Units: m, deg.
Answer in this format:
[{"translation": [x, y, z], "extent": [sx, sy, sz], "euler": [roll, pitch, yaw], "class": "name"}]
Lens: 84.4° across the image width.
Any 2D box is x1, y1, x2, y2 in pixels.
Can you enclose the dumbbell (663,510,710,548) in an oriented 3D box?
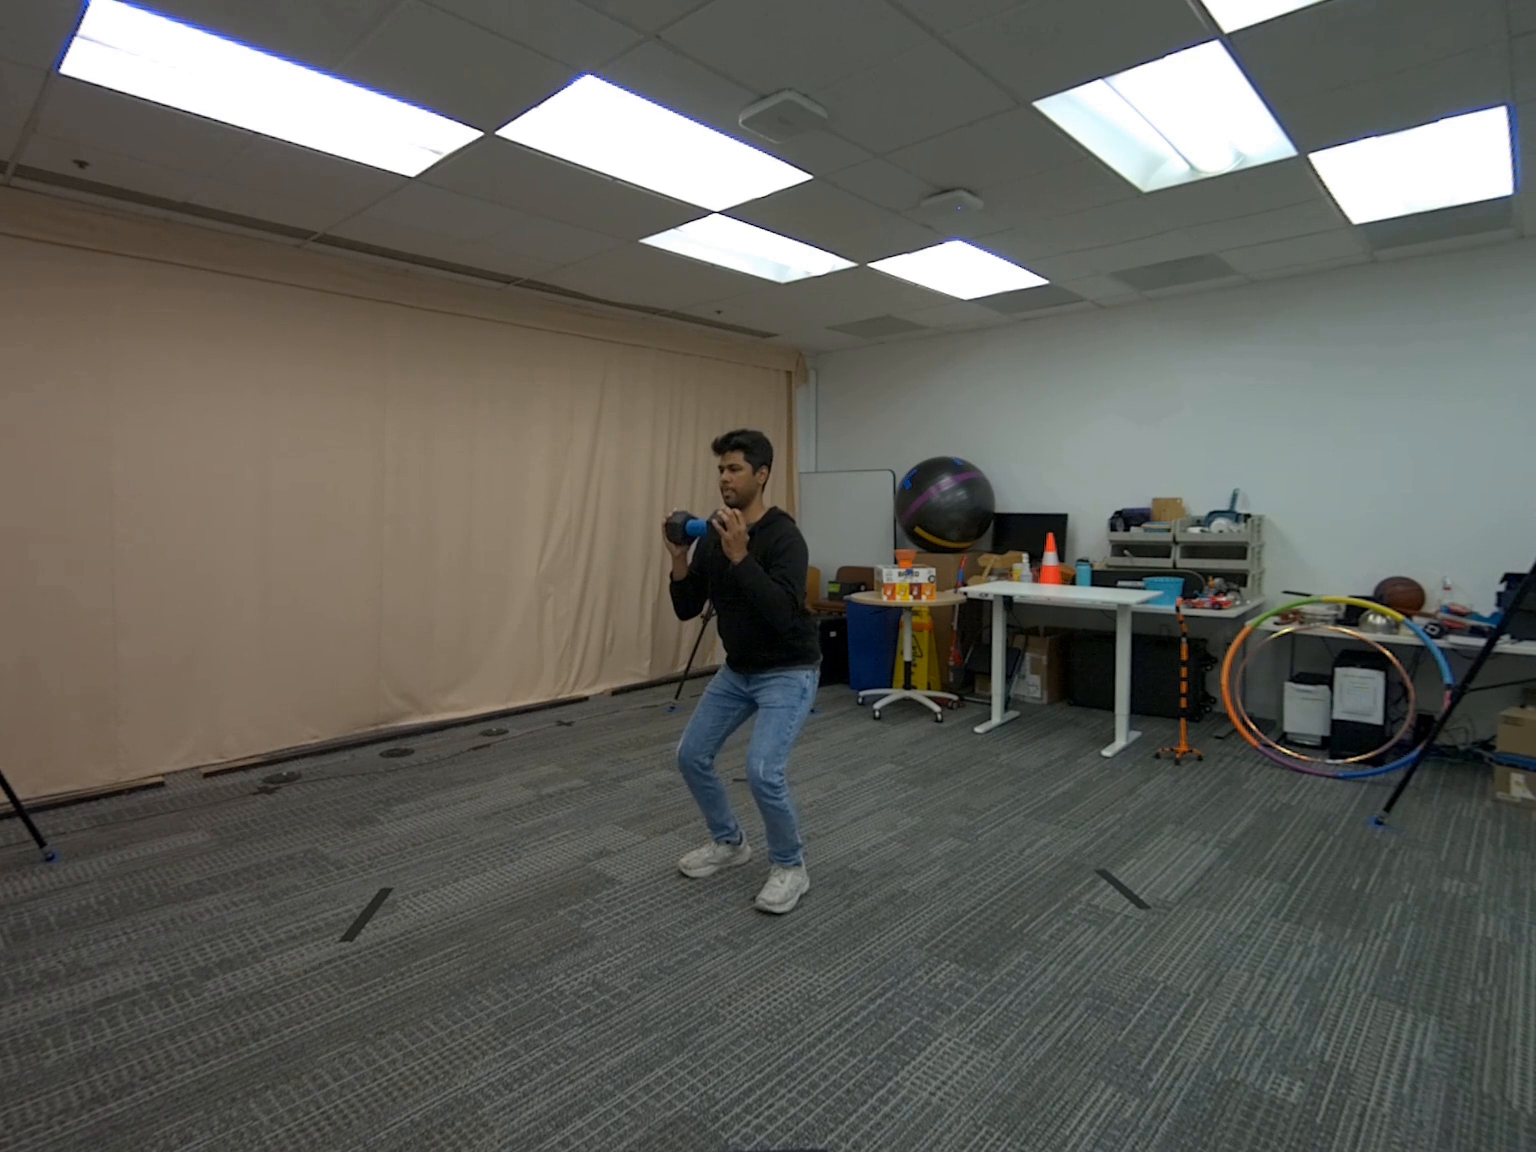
[{"translation": [-0.214, -0.158, 2.891], "extent": [0.303, 0.122, 0.106], "euler": [4, 14, 44], "class": "dumbbell"}]
